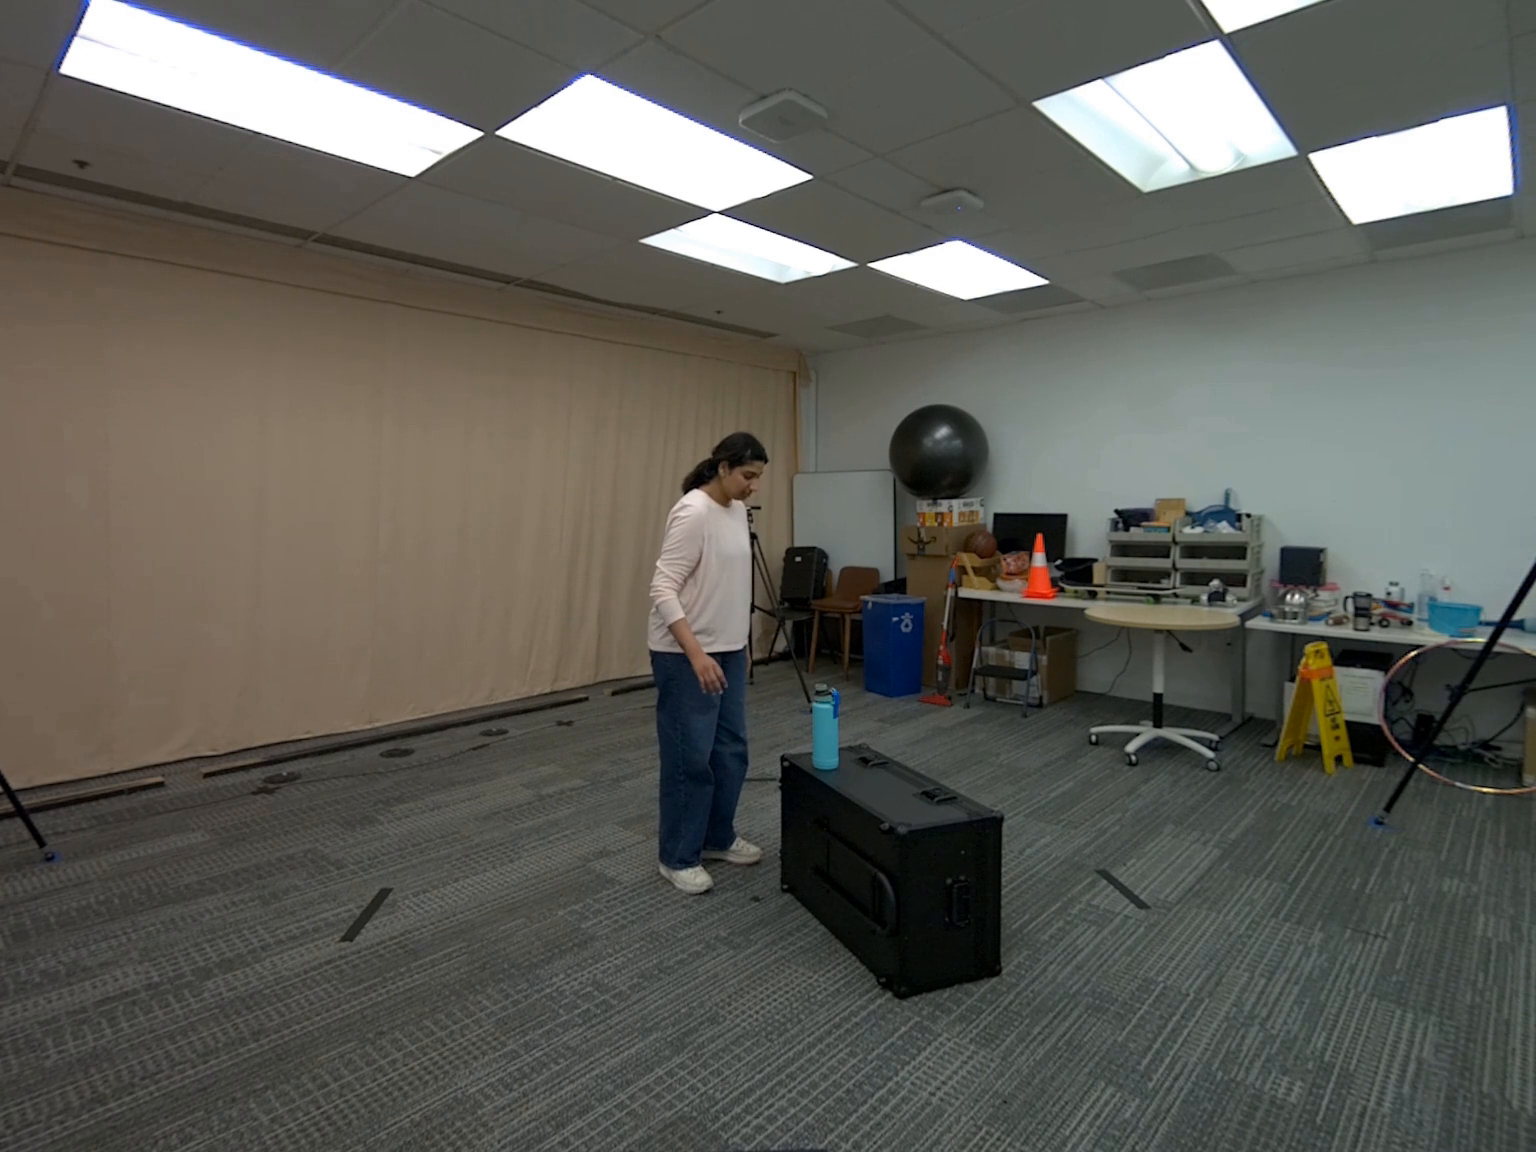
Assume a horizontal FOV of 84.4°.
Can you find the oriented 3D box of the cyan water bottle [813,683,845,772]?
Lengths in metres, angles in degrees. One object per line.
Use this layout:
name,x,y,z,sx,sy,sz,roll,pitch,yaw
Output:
cyan water bottle,0.210,0.522,2.937,0.092,0.283,0.092,0,3,-2
